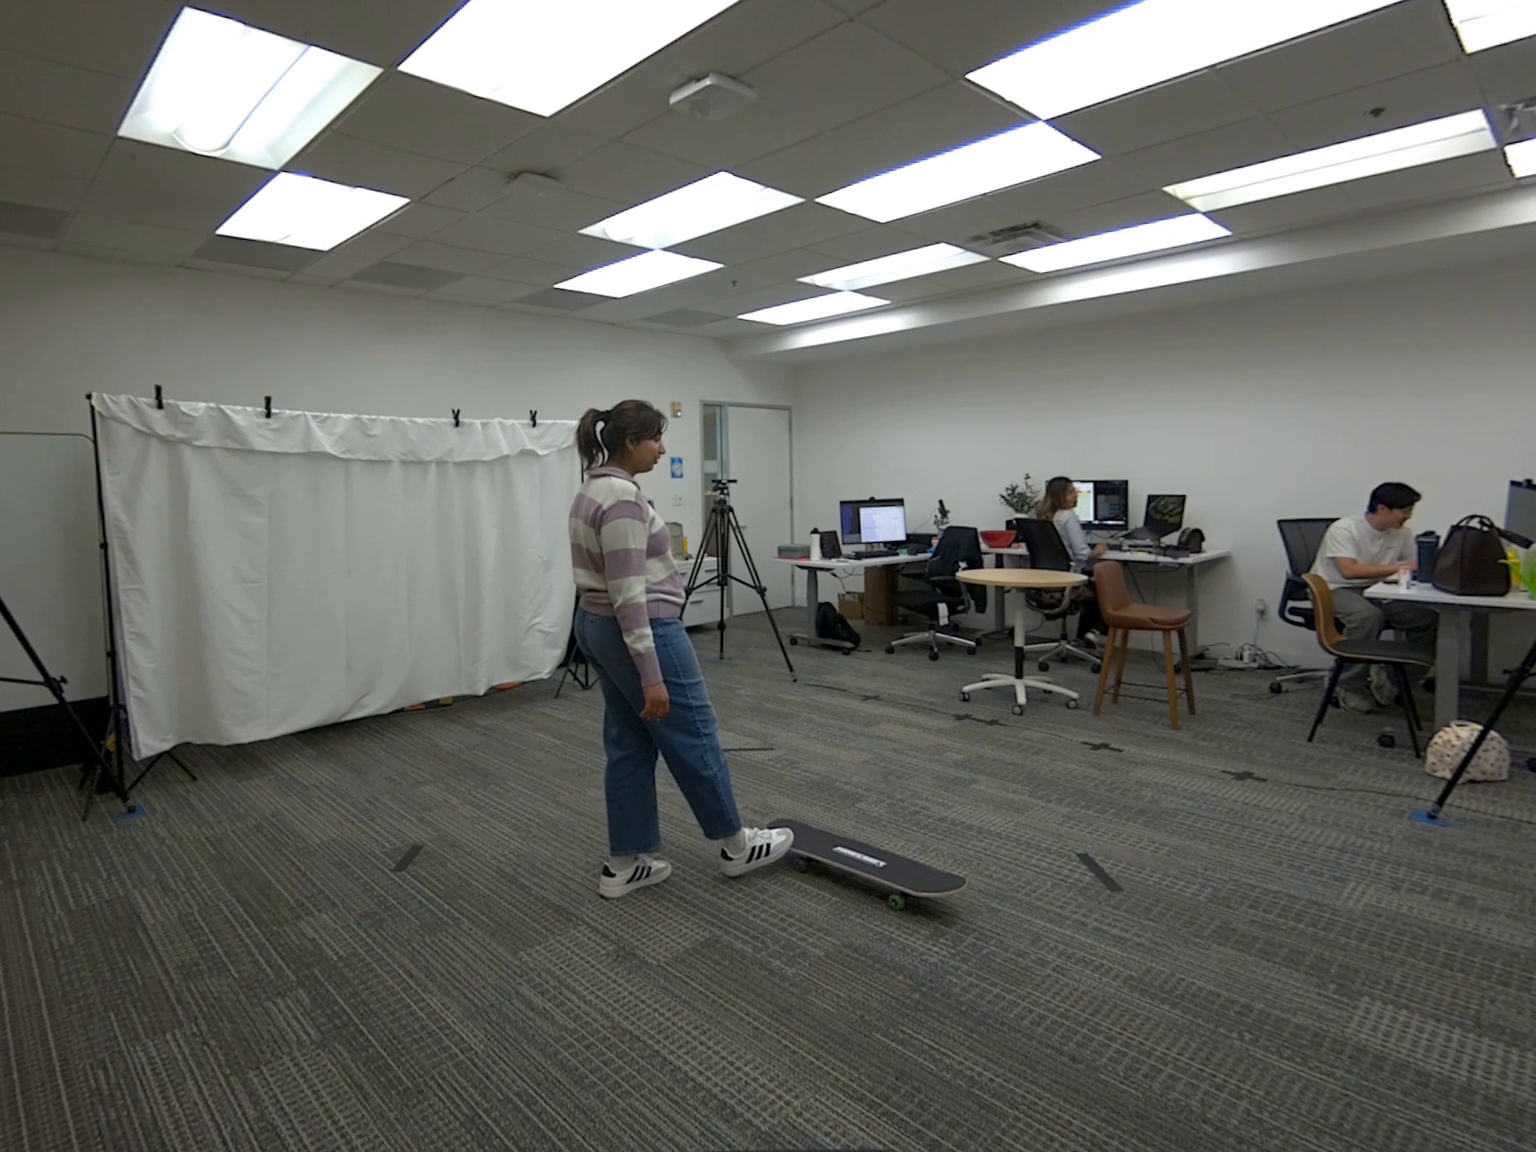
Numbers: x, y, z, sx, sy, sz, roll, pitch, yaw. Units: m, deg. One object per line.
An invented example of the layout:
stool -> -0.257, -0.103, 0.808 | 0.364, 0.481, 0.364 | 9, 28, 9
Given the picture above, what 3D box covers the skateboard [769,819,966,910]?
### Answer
skateboard -> 0.313, 0.999, 2.944 | 0.810, 0.110, 0.188 | 5, 8, 42
